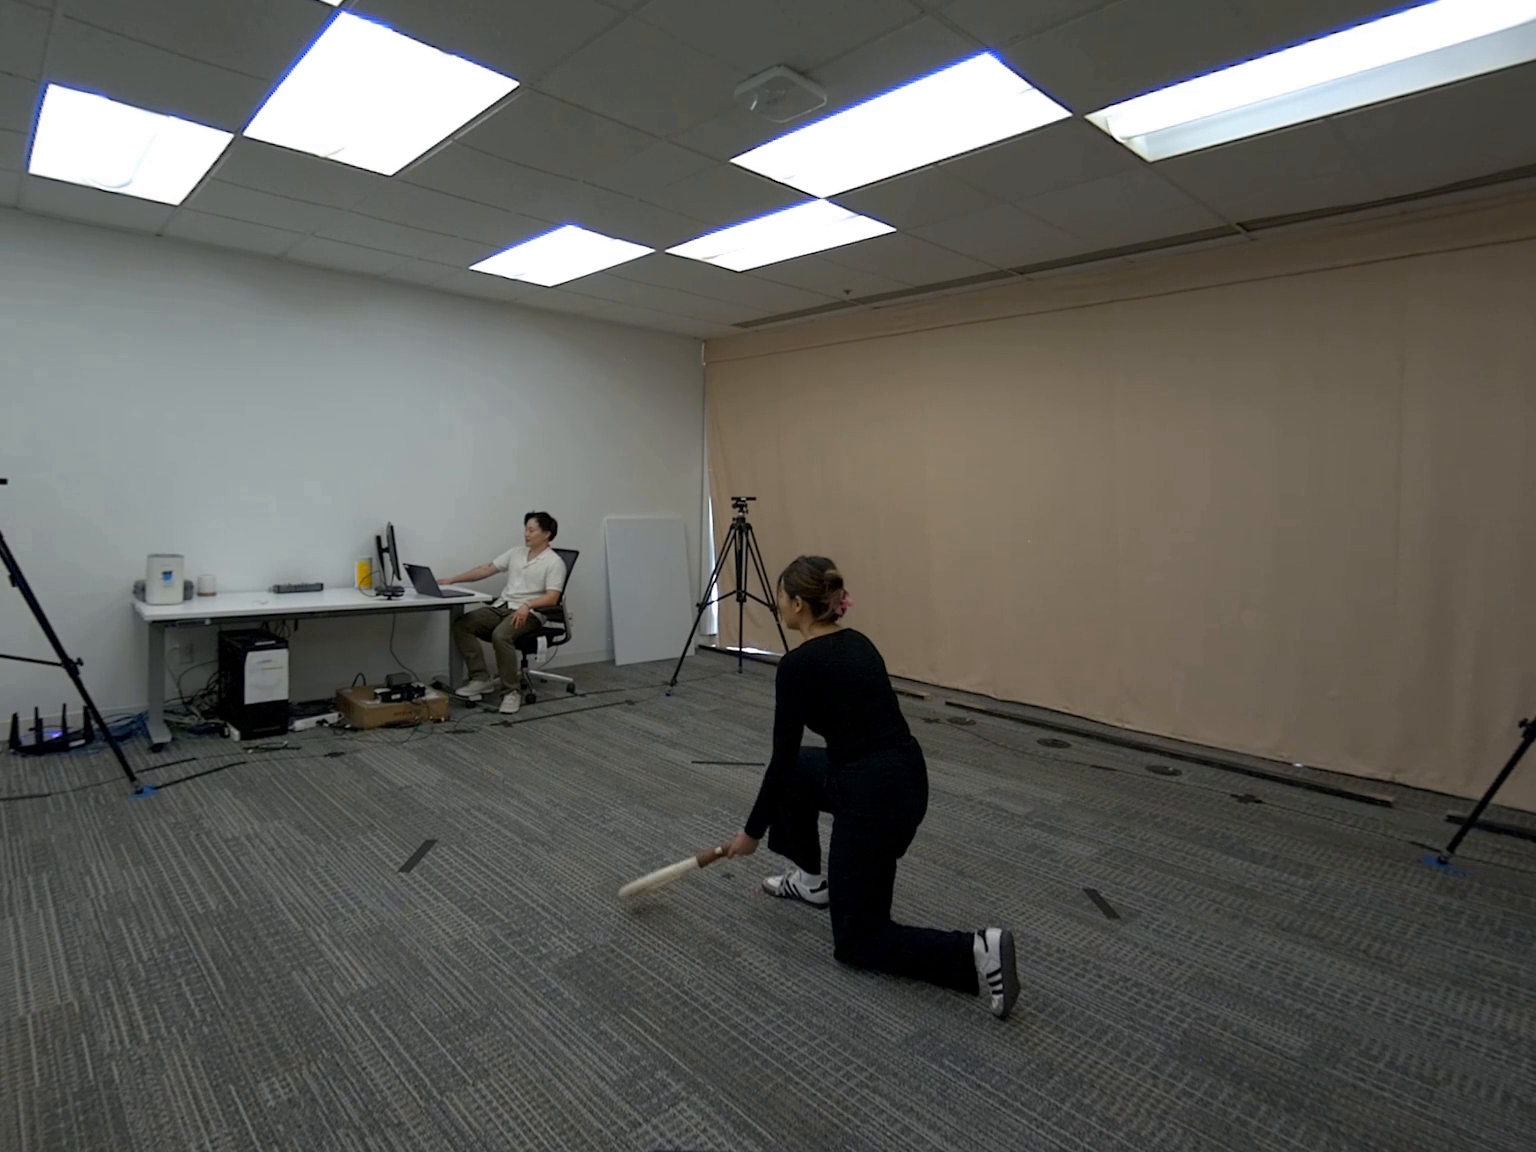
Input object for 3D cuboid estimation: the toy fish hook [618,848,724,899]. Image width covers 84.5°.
[{"bbox_3d":[-0.259,0.933,2.777,0.509,0.049,0.219,-25,-21,11],"label":"toy fish hook"}]
